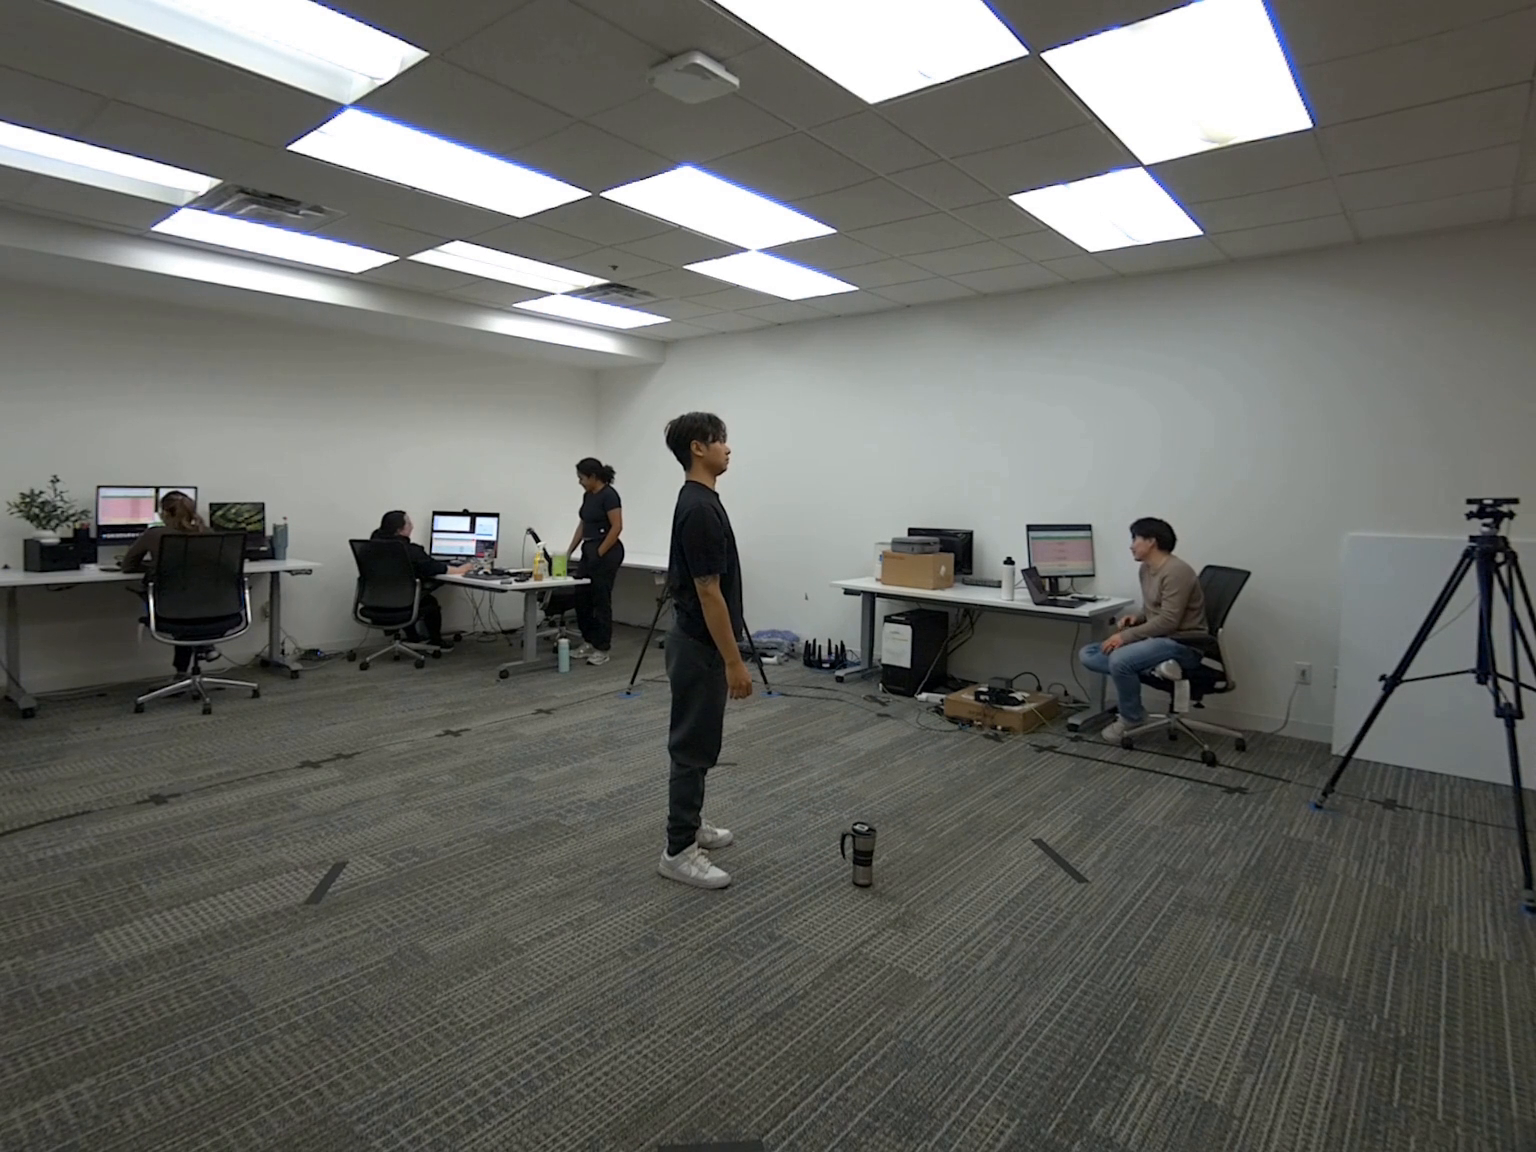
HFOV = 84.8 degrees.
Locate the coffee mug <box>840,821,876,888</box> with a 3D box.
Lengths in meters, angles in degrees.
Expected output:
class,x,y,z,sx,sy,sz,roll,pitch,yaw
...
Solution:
class,x,y,z,sx,sy,sz,roll,pitch,yaw
coffee mug,0.317,0.988,3.030,0.126,0.202,0.085,7,8,32
